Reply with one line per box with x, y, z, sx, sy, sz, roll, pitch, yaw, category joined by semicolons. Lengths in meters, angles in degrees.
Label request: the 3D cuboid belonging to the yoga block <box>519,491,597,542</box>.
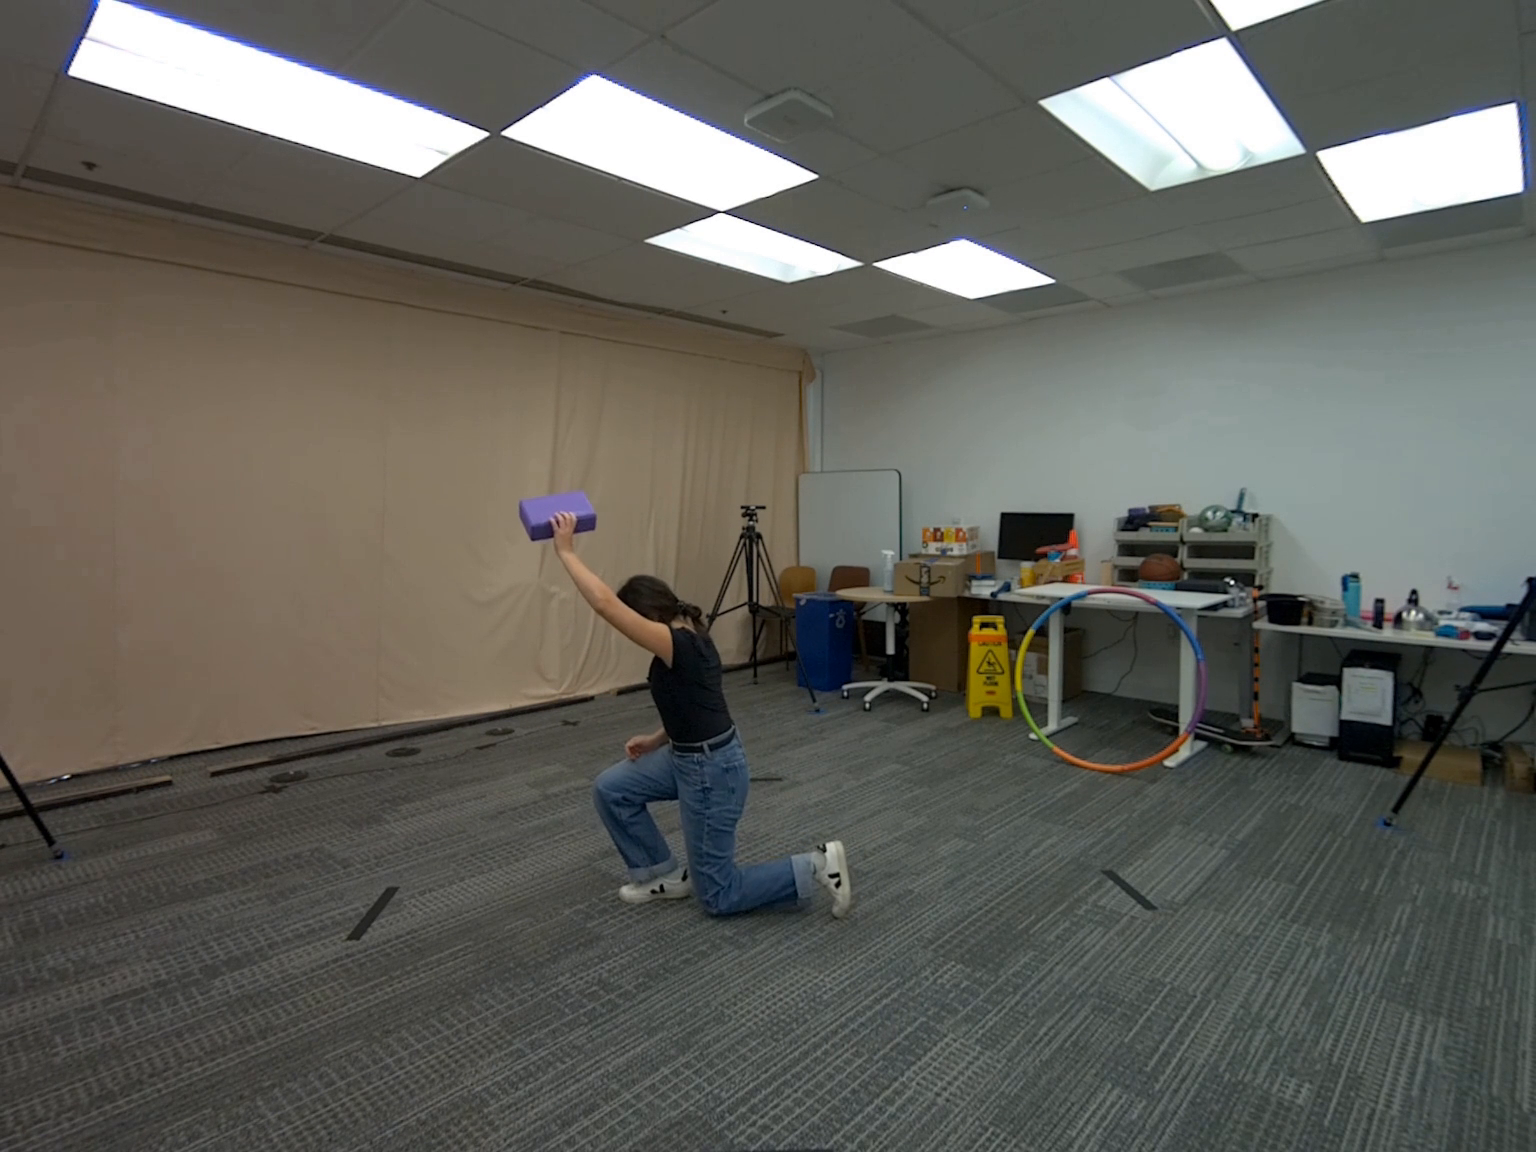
-0.732;-0.199;2.857;0.224;0.075;0.154;-13;45;-25;yoga block
